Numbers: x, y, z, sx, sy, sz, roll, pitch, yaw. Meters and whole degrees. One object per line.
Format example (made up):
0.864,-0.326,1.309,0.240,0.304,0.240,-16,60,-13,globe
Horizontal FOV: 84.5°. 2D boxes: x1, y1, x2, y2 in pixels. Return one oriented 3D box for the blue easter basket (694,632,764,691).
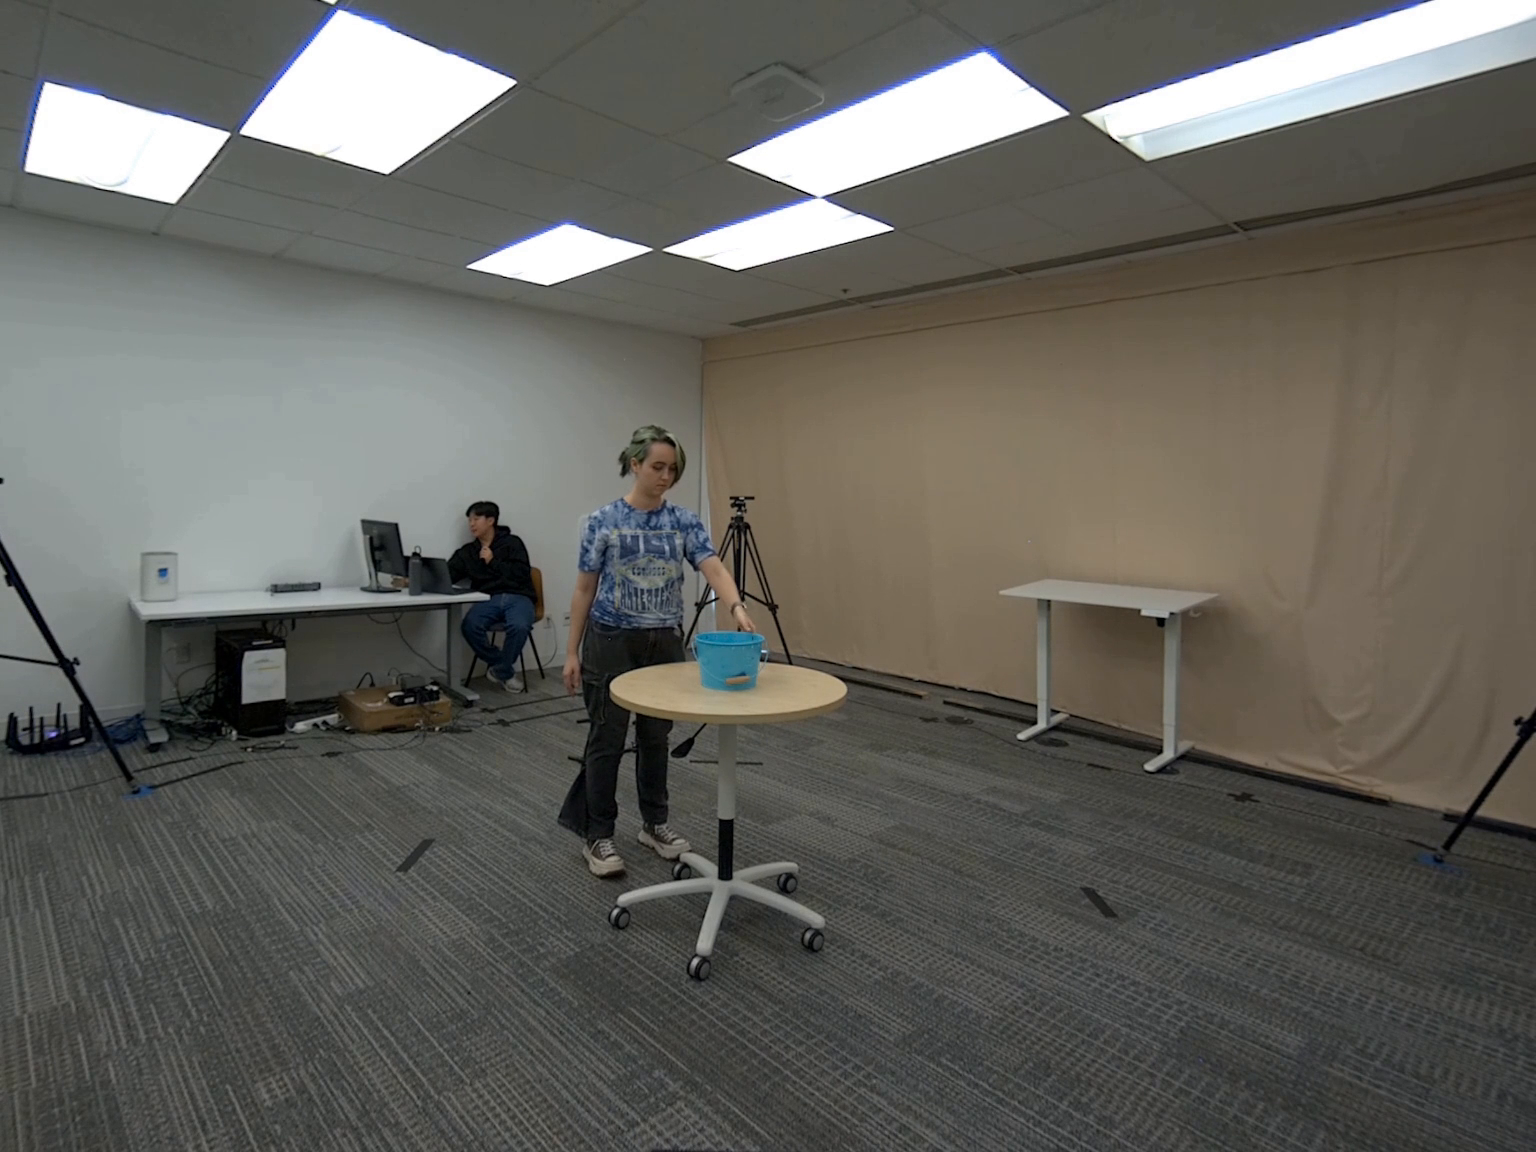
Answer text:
-0.139,0.281,2.726,0.243,0.155,0.244,0,5,-1,blue easter basket
